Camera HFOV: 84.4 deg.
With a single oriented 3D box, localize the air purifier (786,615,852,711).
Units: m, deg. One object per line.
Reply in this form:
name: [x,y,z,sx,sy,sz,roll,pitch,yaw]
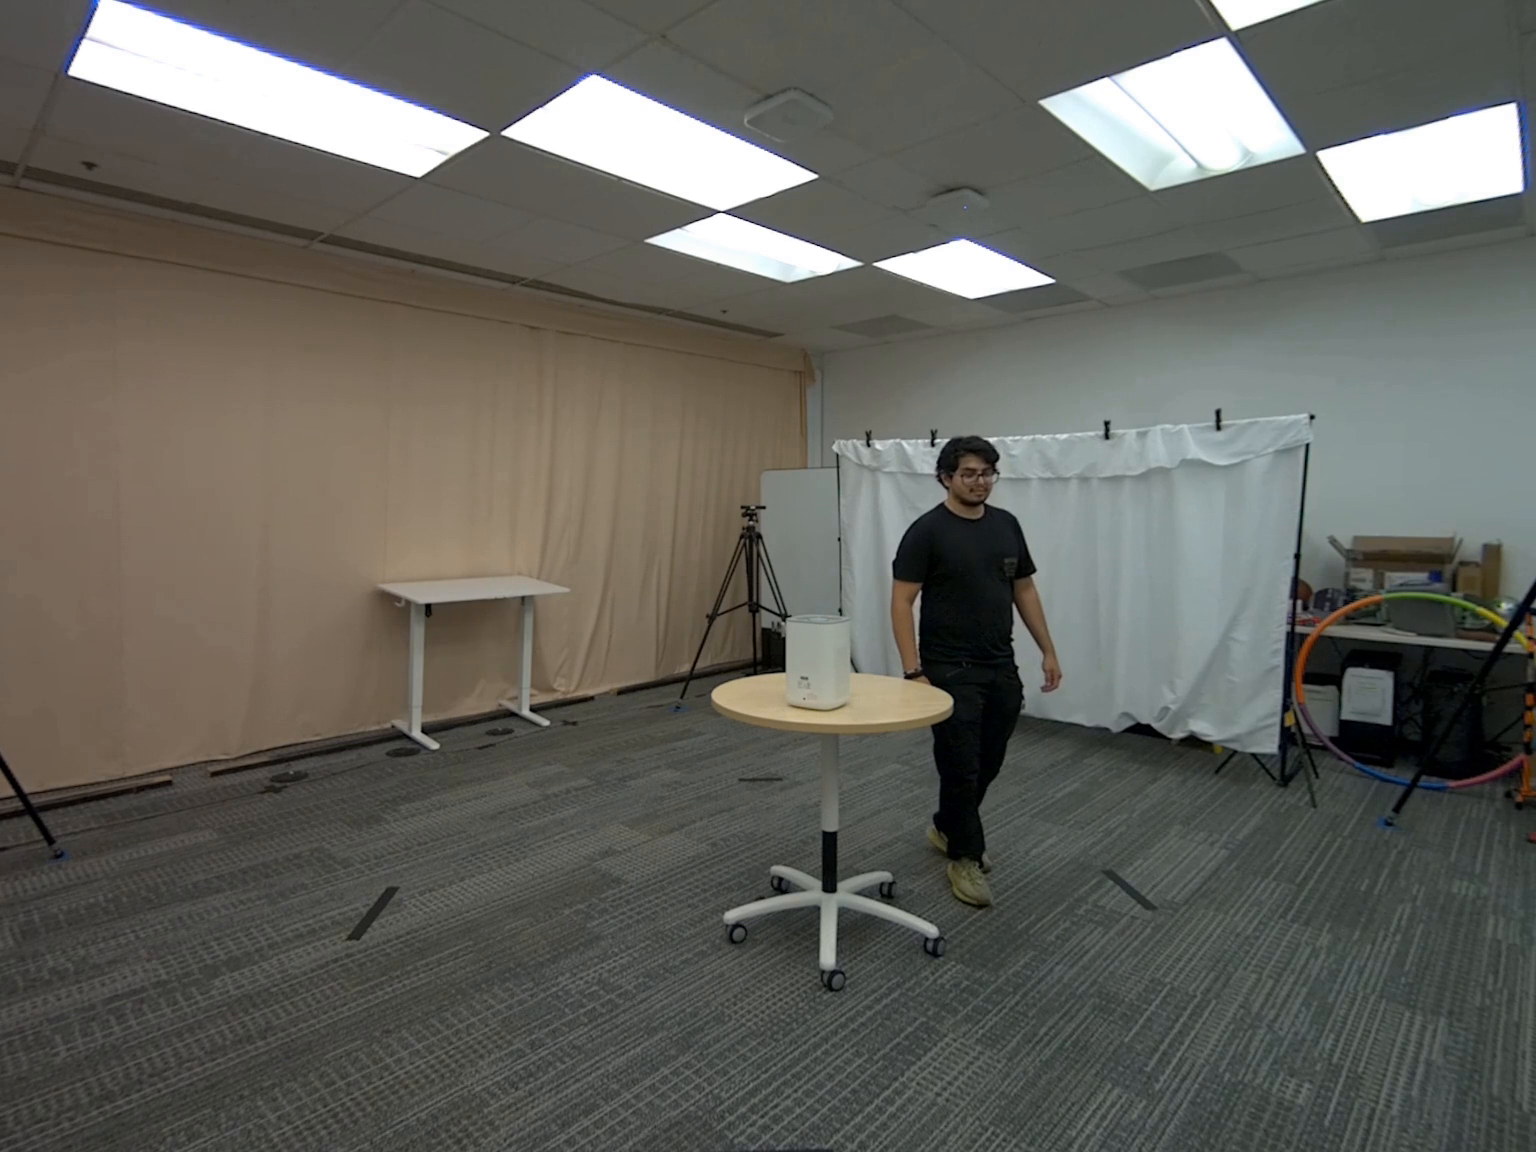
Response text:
air purifier: [0.160,0.263,2.552,0.176,0.265,0.167,1,3,31]
